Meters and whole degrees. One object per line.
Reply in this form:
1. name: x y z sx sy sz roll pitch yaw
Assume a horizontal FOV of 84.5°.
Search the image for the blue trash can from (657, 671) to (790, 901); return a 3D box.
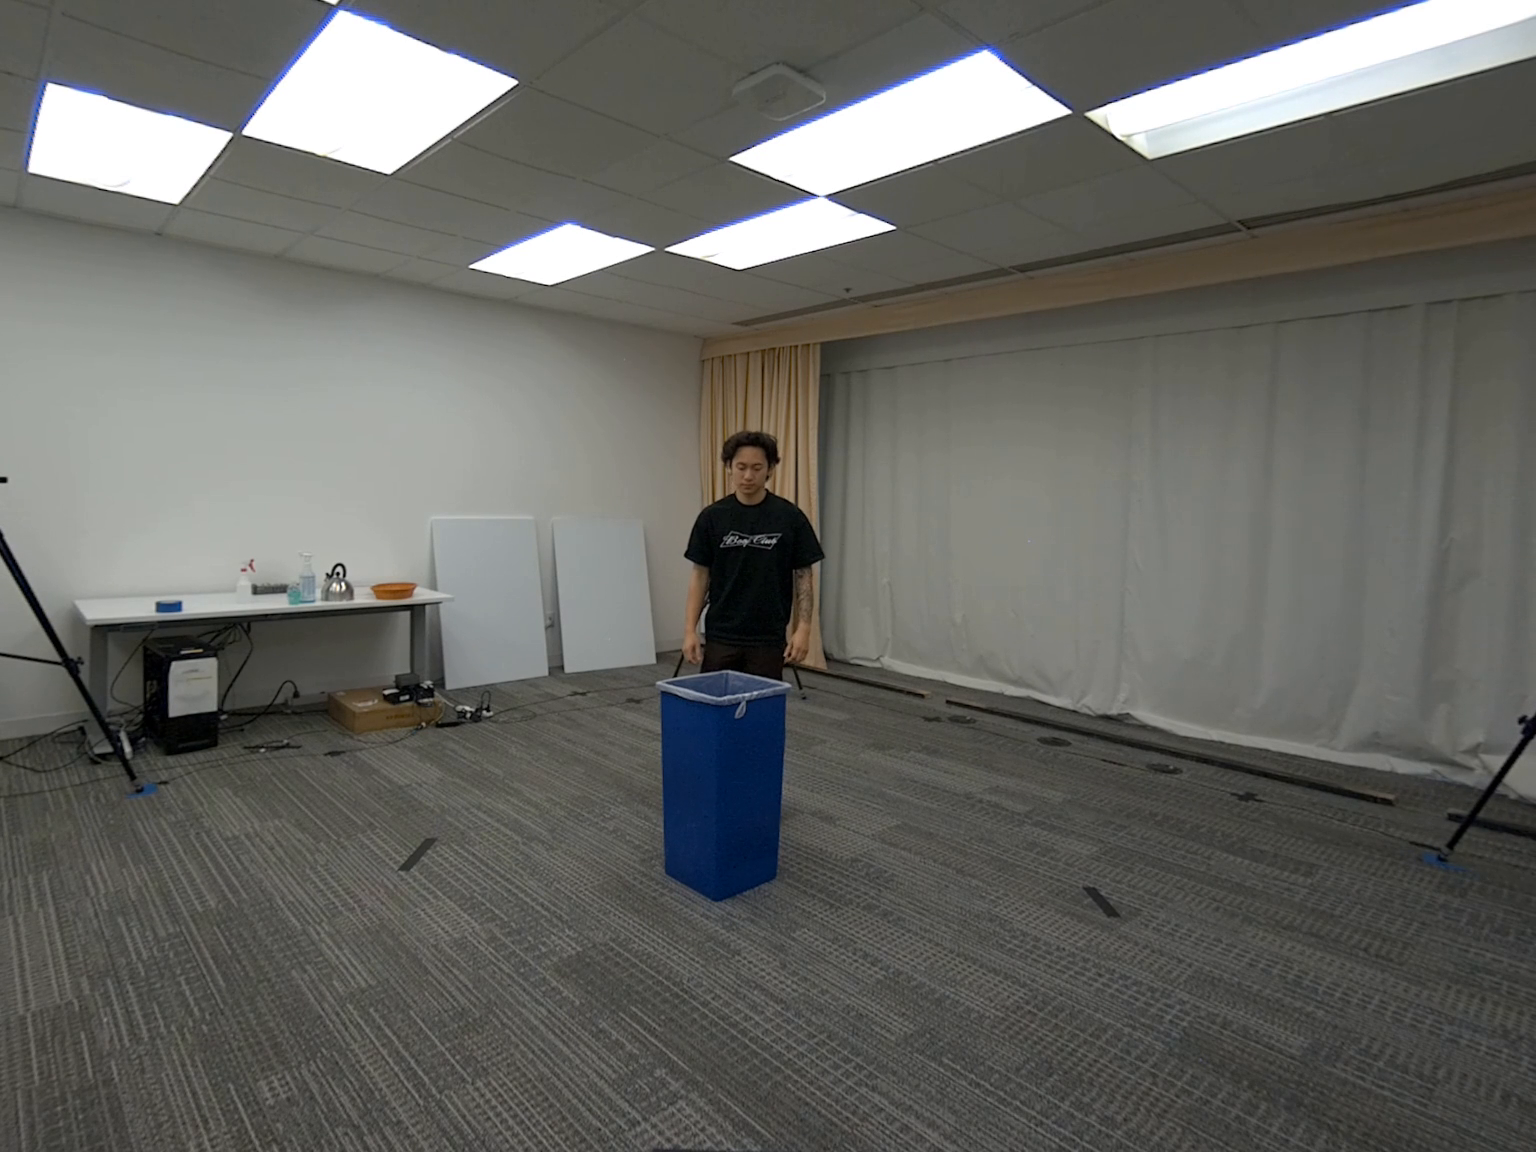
1. blue trash can: -0.181 0.746 3.077 0.369 0.712 0.383 -2 4 -44
